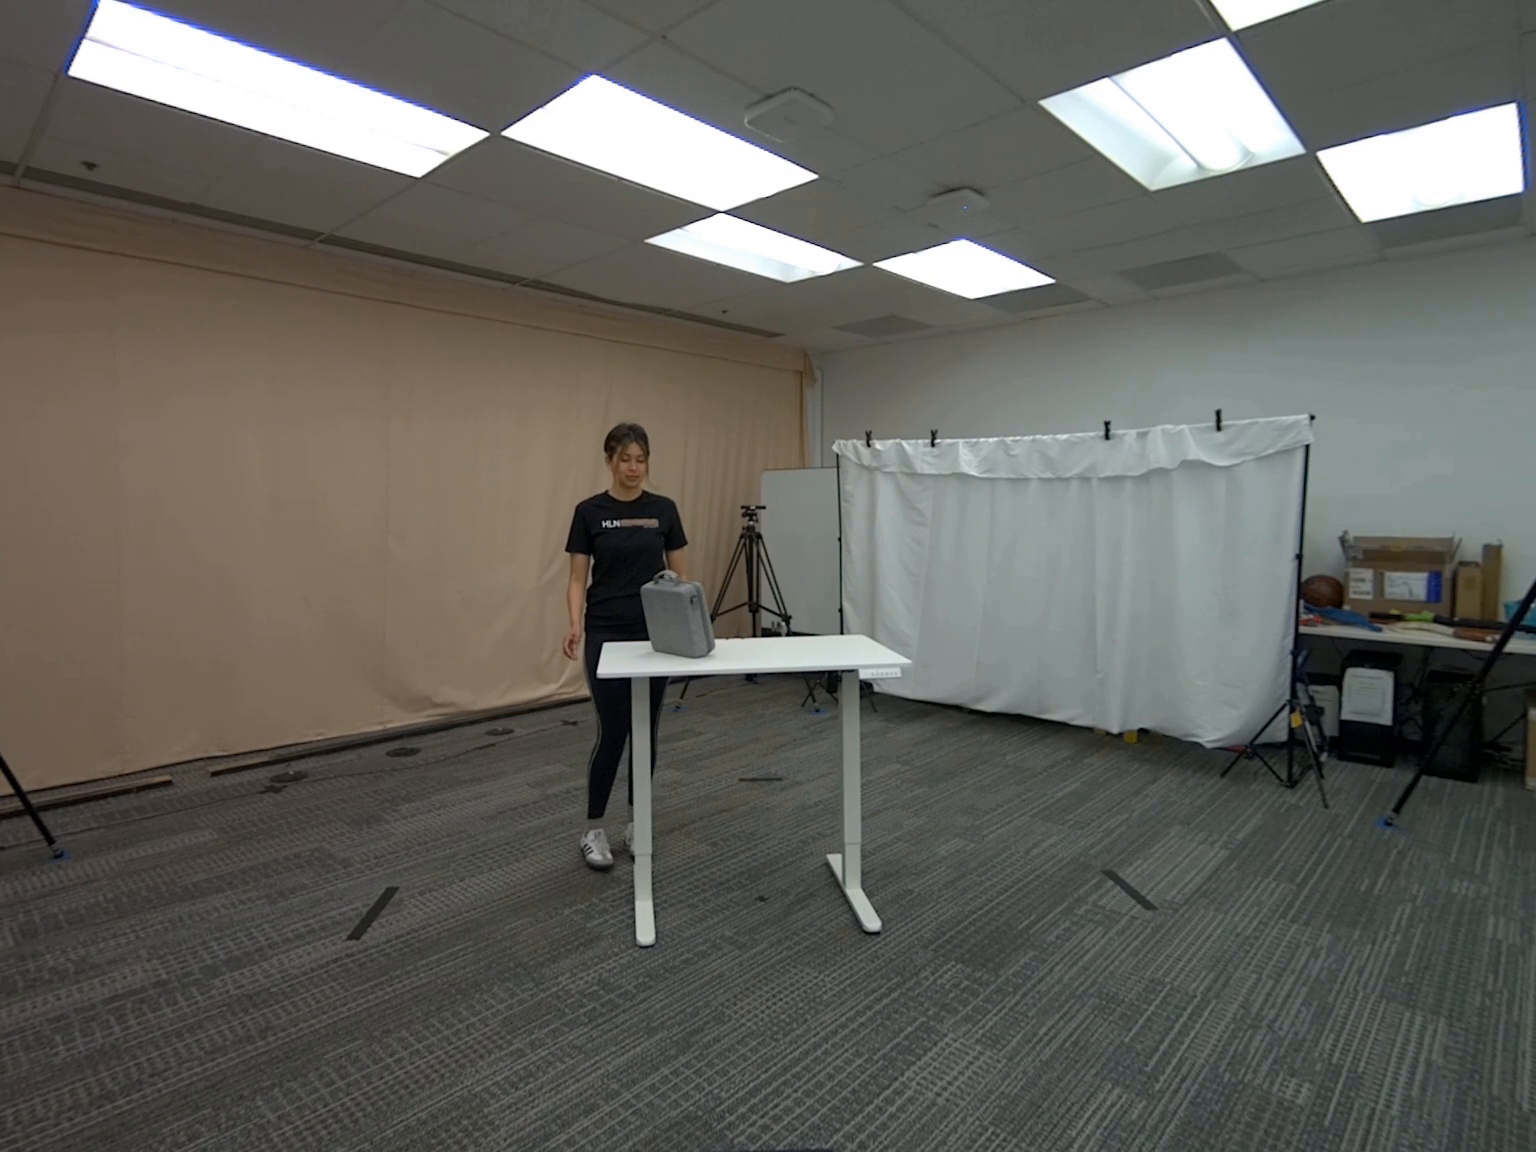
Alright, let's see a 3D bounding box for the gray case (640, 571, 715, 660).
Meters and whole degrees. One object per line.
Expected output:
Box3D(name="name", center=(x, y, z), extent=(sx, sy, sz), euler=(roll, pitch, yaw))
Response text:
Box3D(name="gray case", center=(-0.310, 0.141, 2.898), extent=(0.102, 0.258, 0.265), euler=(-19, 14, -41))
